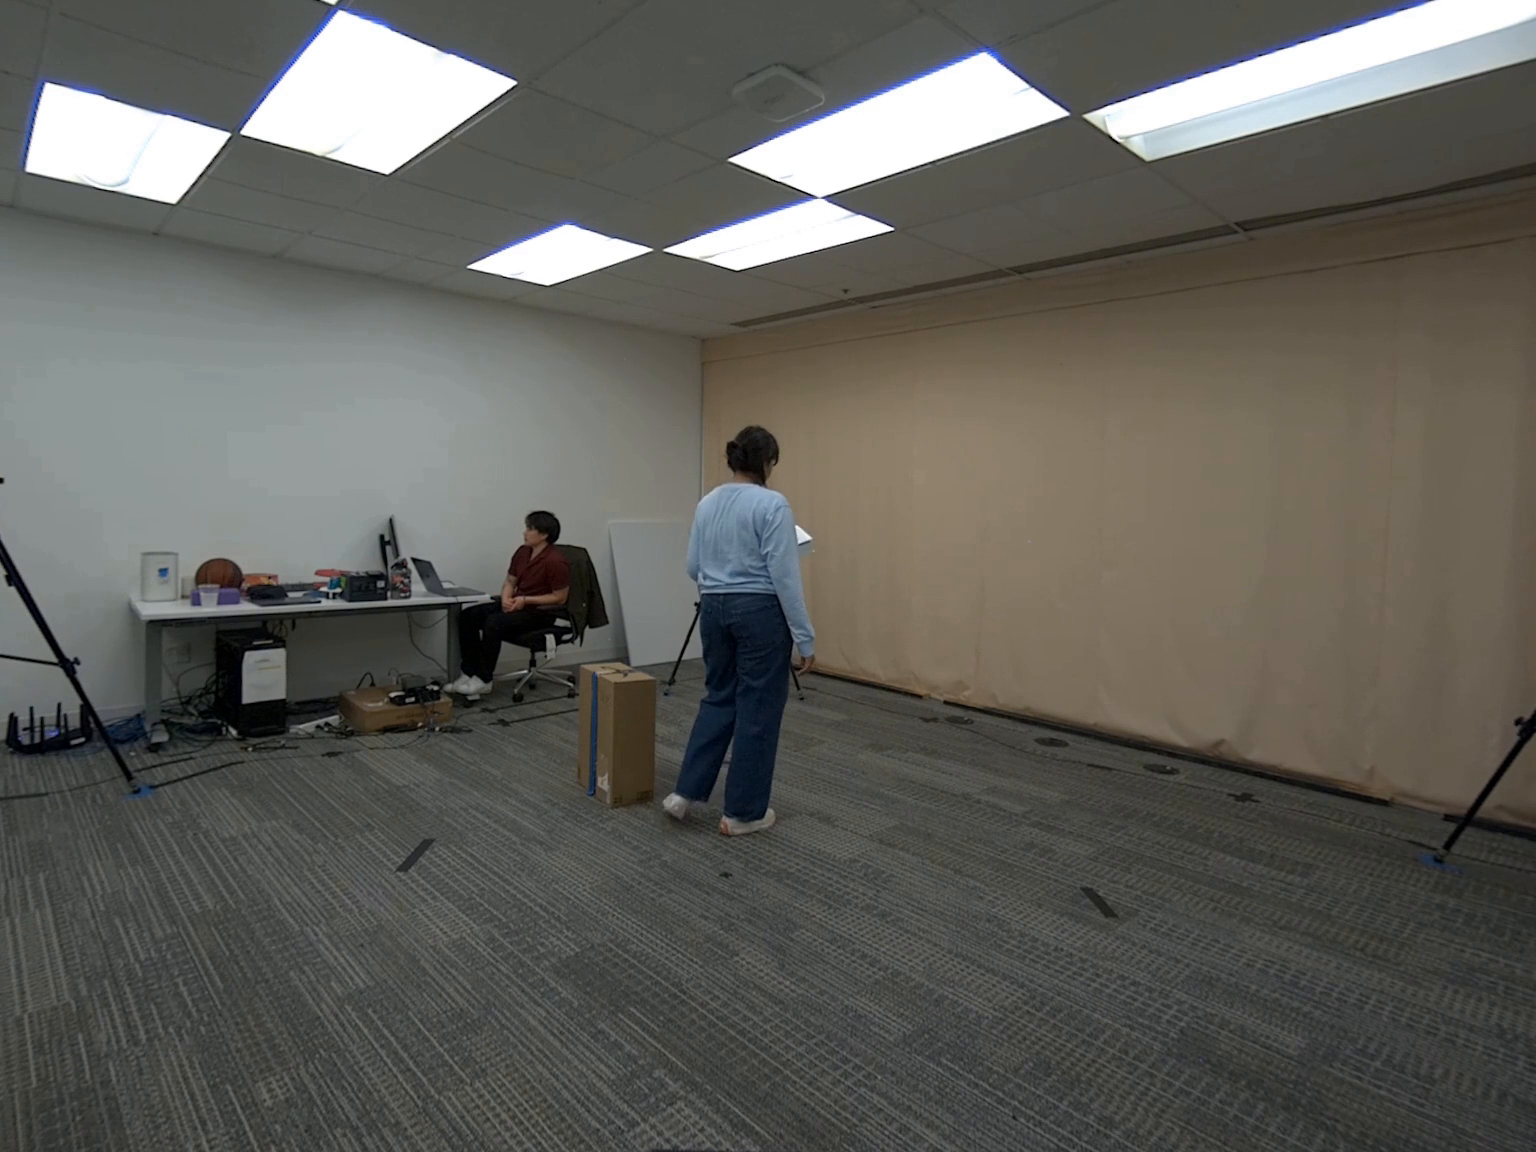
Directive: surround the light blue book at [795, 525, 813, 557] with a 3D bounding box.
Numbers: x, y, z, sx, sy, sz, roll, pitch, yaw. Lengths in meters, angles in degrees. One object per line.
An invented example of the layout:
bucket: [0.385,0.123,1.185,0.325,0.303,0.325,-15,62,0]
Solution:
light blue book: [0.043,-0.127,3.767,0.259,0.058,0.197,-20,30,-12]
